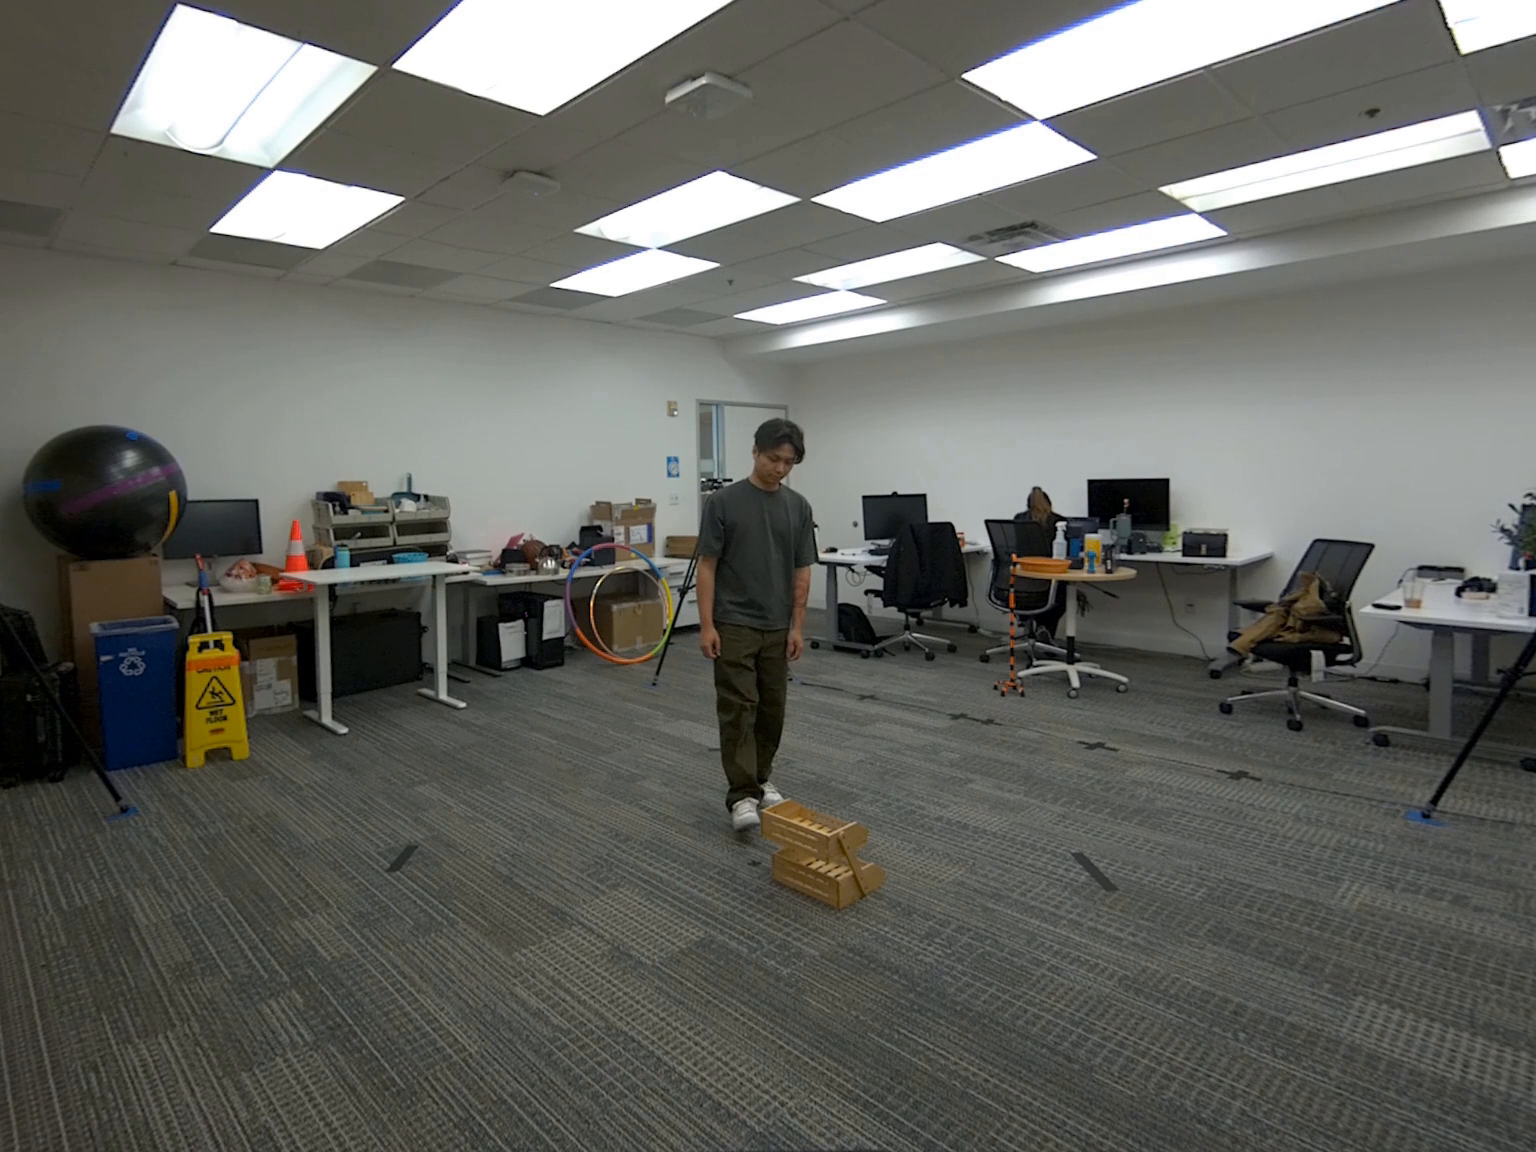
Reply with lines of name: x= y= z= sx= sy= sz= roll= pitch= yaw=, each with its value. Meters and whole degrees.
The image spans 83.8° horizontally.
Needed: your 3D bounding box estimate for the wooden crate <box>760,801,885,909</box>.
wooden crate: x=0.194 y=0.925 z=2.936 sx=0.294 sy=0.272 sz=0.334 roll=-6 pitch=7 yaw=-44
